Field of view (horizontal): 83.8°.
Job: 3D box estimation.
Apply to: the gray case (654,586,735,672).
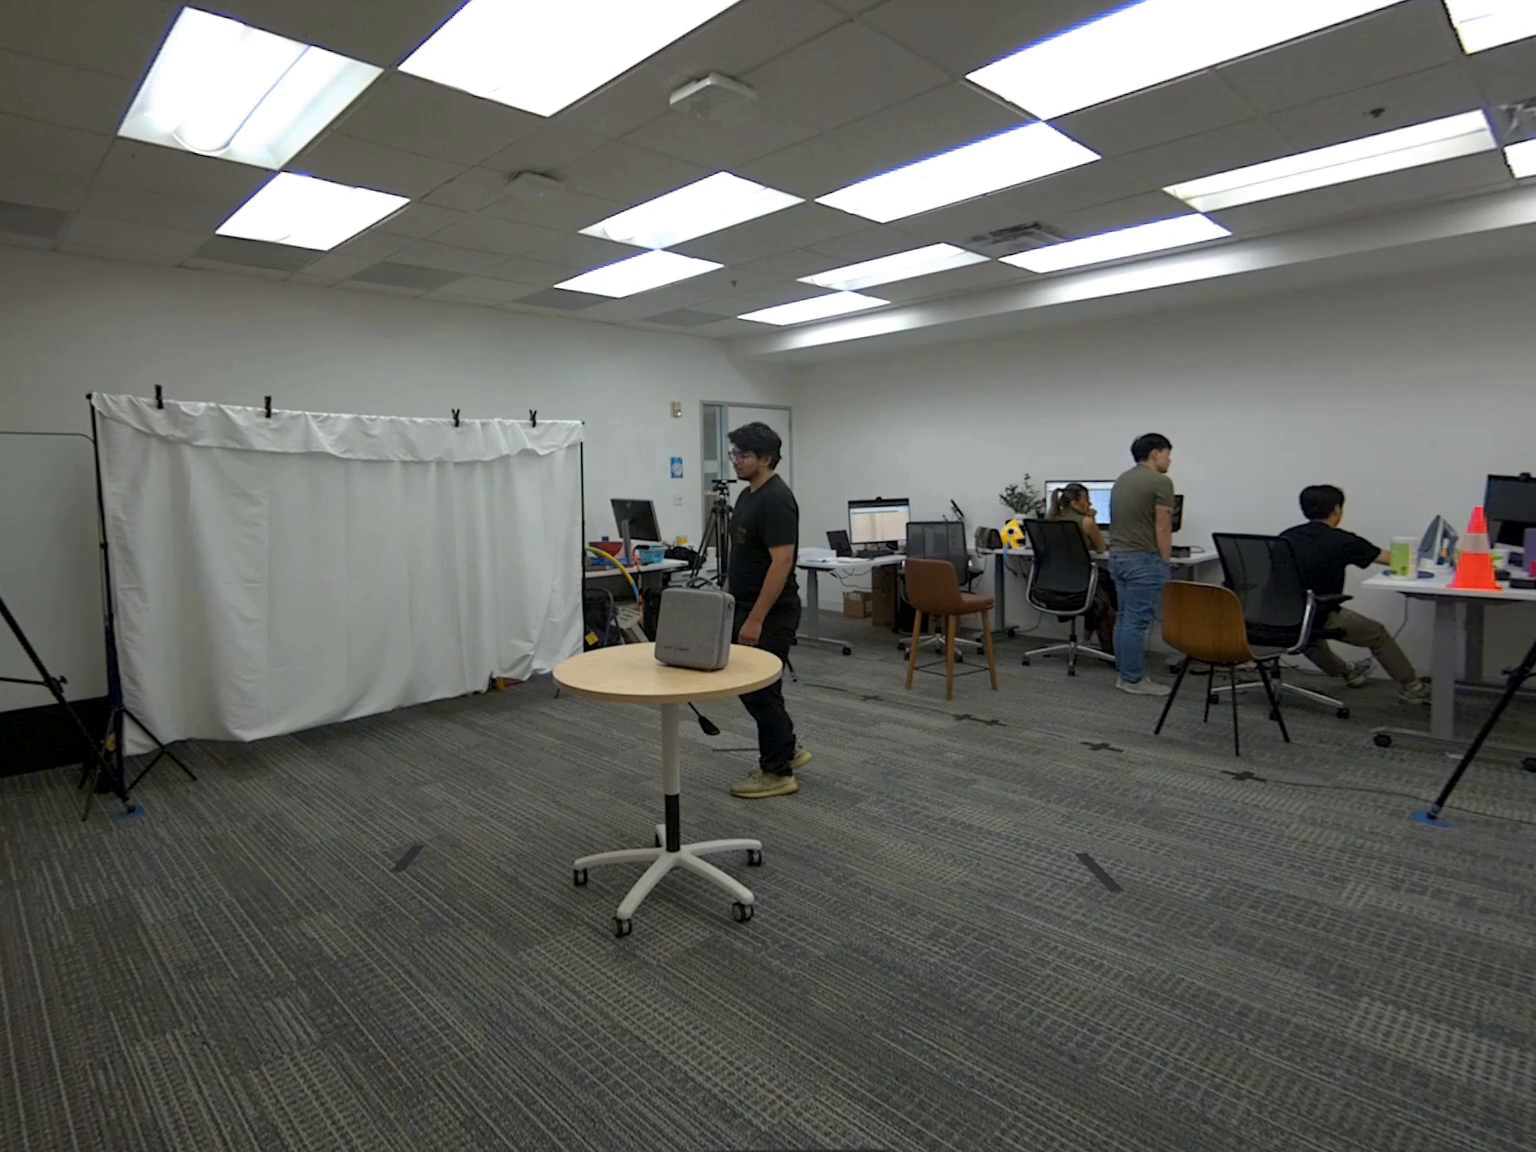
[{"bbox_3d":[-0.242,0.169,2.850,0.264,0.262,0.101,3,-7,32],"label":"gray case"}]
